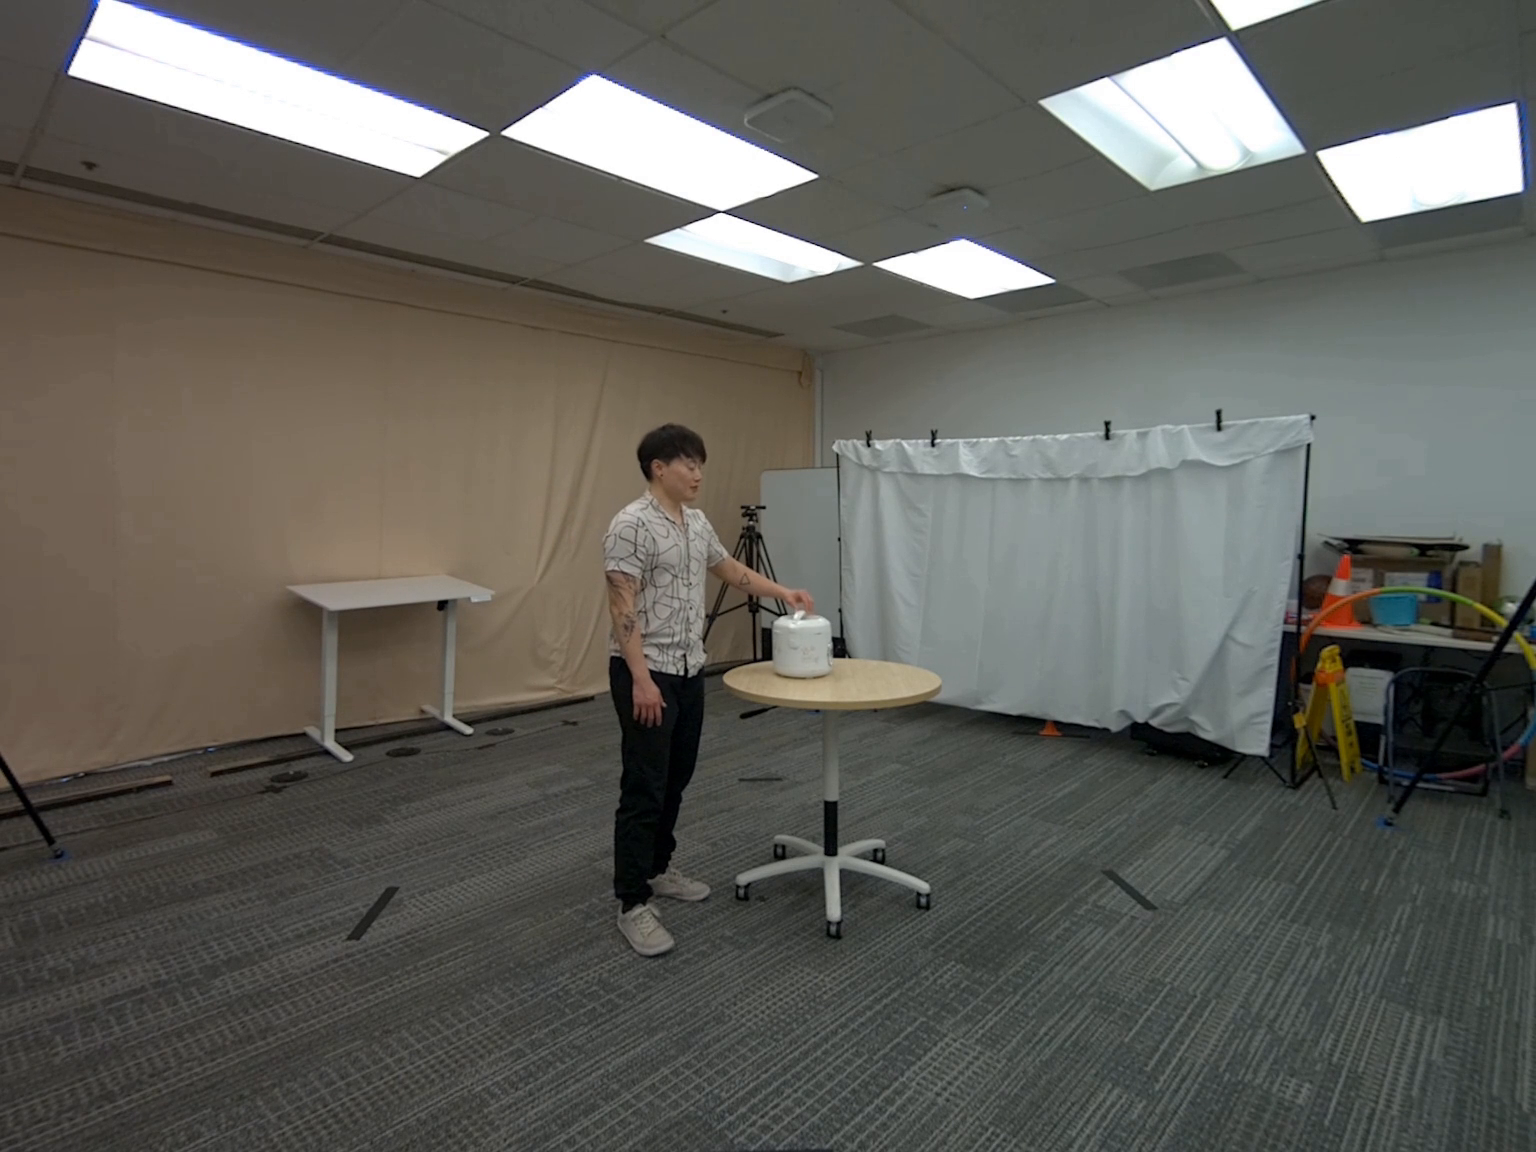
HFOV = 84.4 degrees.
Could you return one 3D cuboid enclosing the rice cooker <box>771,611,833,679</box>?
[{"bbox_3d":[0.127,0.240,3.038,0.222,0.232,0.216,0,3,20],"label":"rice cooker"}]
